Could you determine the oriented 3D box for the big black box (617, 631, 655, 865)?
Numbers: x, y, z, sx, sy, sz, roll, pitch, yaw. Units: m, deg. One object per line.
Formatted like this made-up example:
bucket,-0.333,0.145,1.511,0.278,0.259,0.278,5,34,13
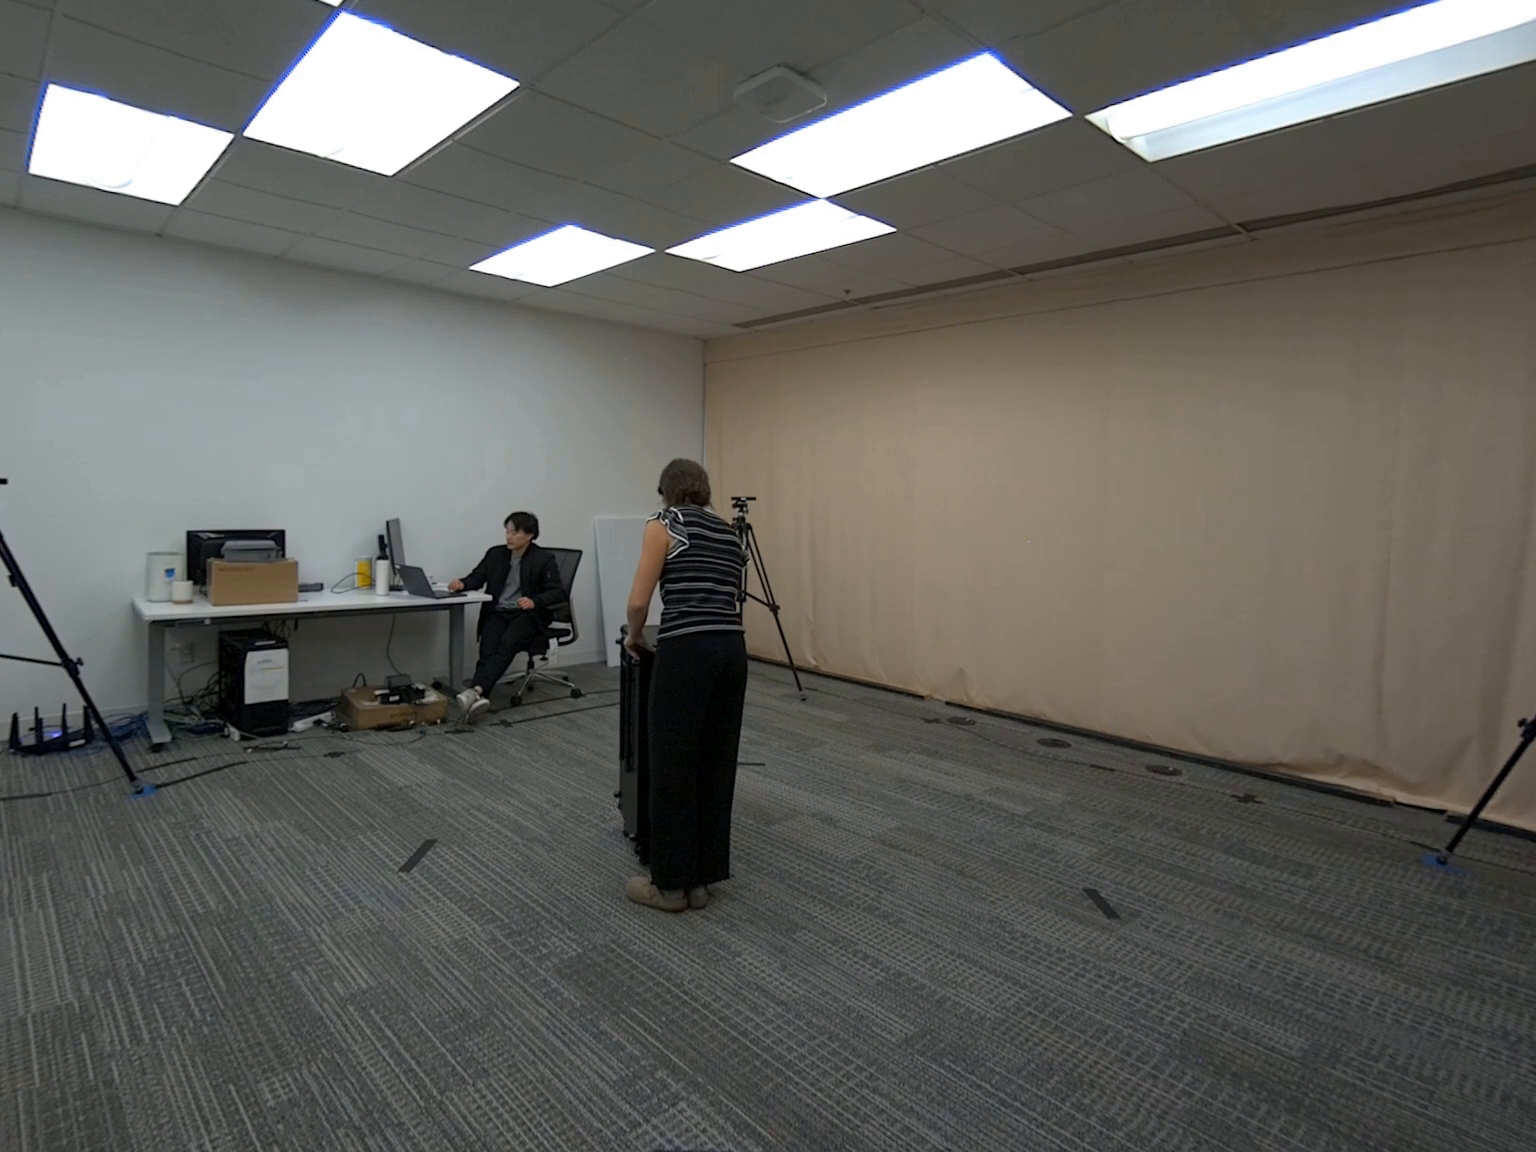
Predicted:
big black box,-0.399,0.658,3.352,0.391,0.859,0.529,0,4,-16
